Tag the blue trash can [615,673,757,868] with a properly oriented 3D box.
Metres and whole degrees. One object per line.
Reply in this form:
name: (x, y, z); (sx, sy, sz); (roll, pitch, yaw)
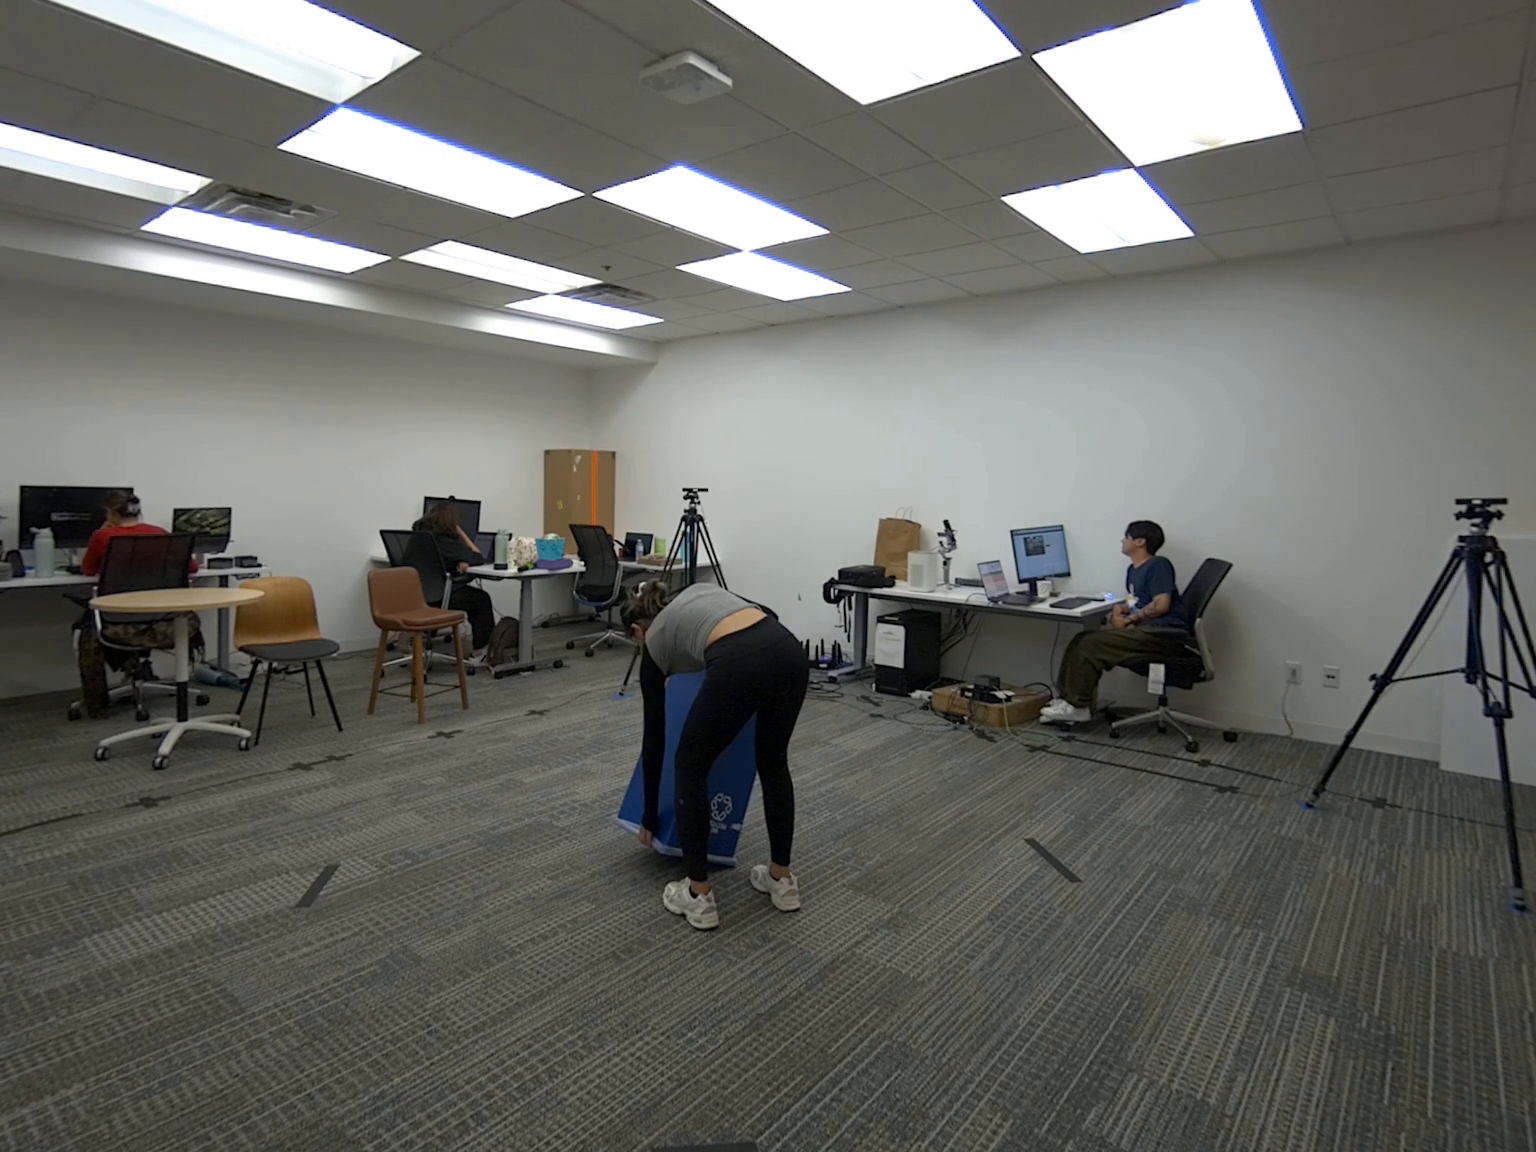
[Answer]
blue trash can: (-0.267, 0.666, 3.247); (0.359, 0.718, 0.390); (26, -14, -38)
